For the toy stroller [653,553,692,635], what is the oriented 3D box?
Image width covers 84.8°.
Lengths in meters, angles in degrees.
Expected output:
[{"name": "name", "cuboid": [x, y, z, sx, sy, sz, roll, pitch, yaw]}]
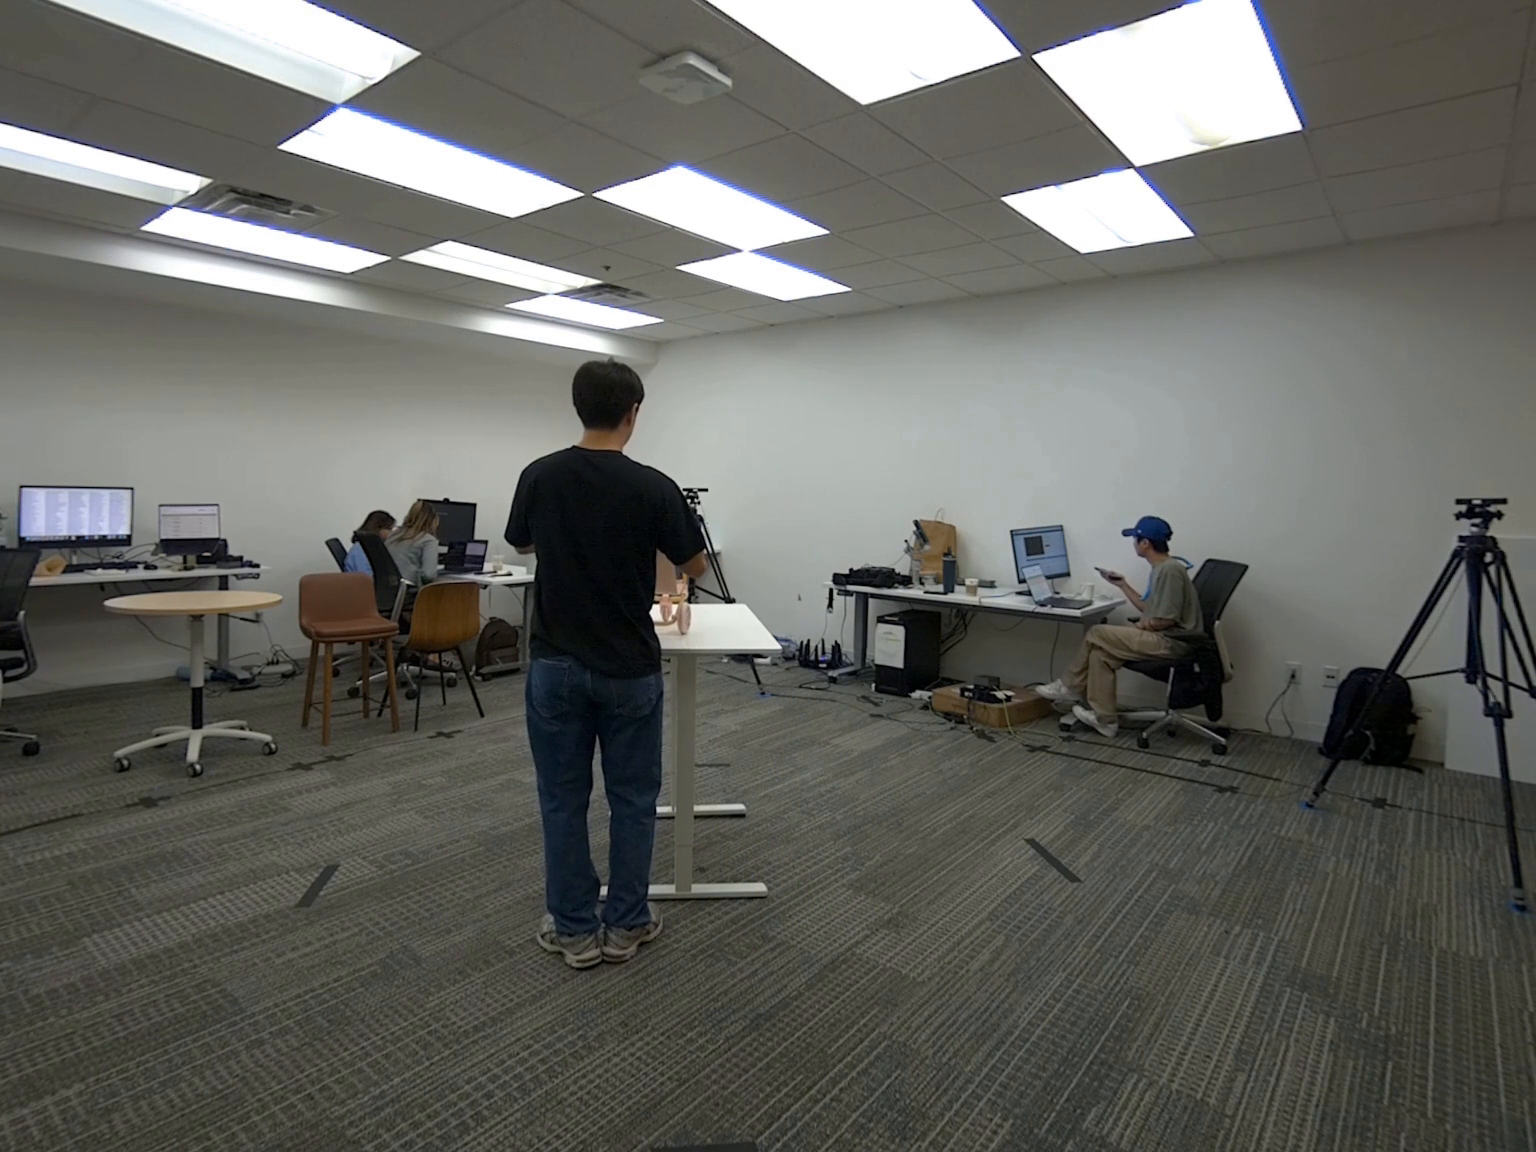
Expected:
[{"name": "toy stroller", "cuboid": [-0.411, -0.033, 3.047, 0.286, 0.526, 0.342, 2, 18, 13]}]
